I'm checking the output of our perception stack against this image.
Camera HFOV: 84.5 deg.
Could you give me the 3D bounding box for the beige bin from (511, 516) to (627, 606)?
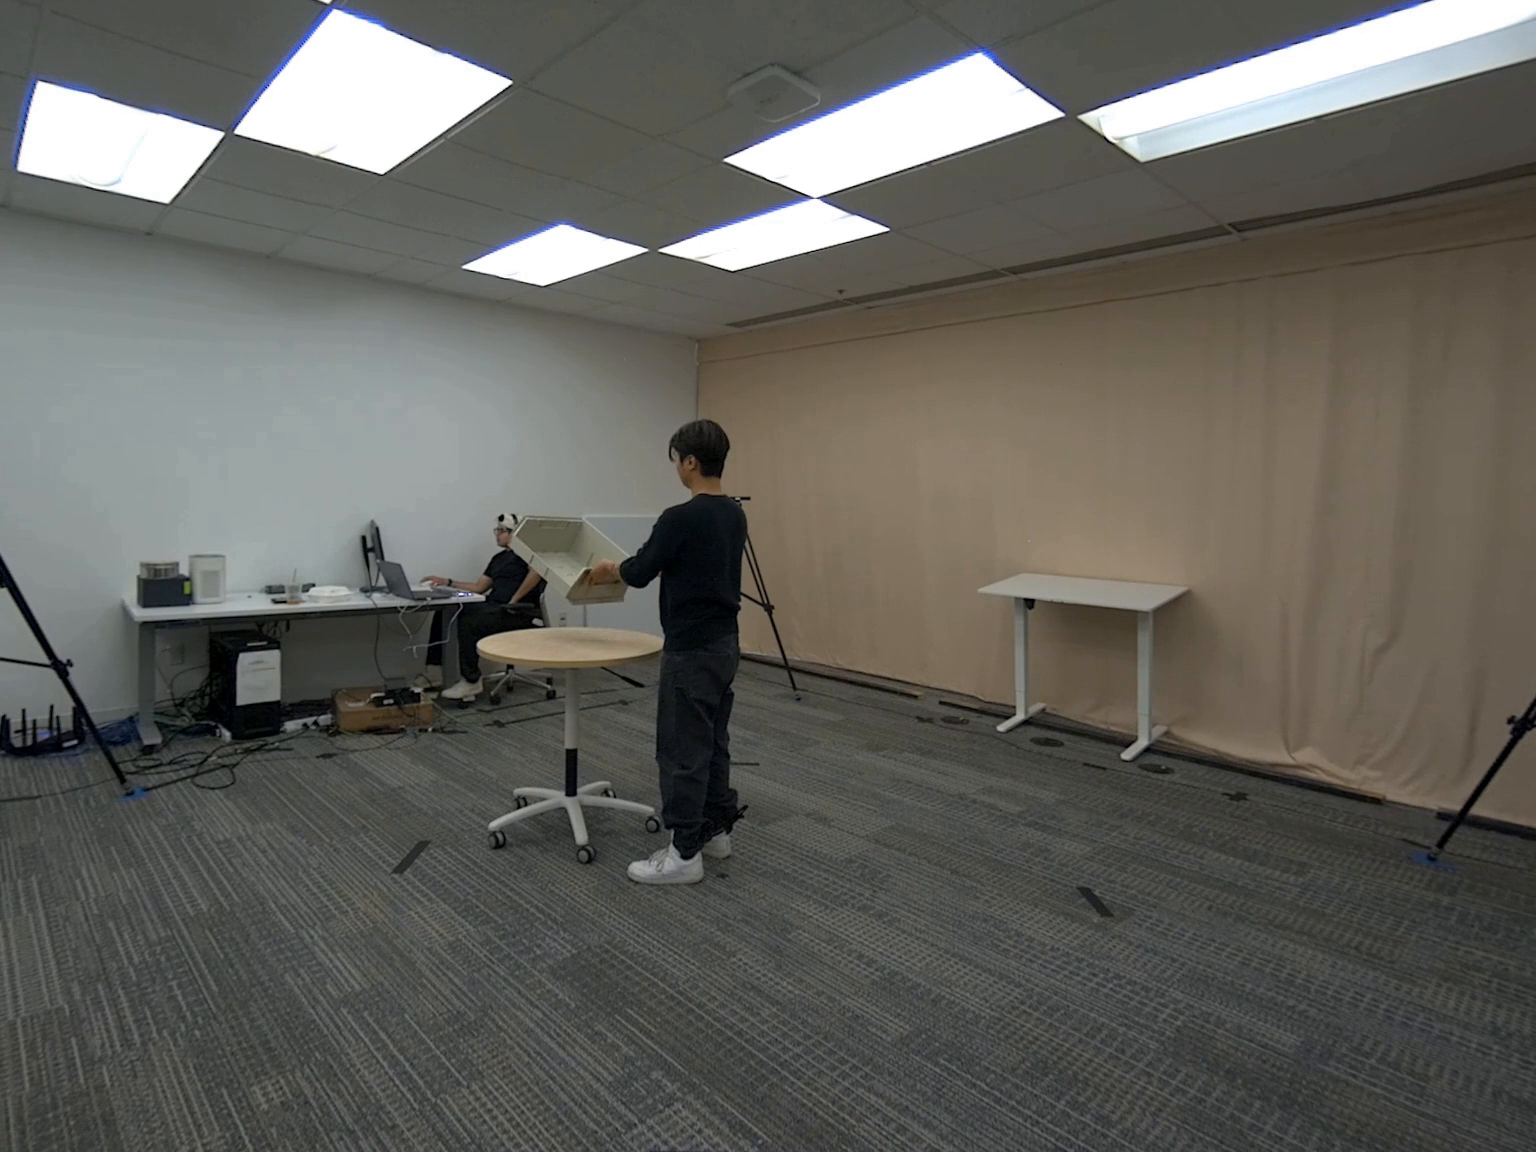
[{"bbox_3d":[-0.831,-0.061,3.564,0.434,0.188,0.369,36,18,28],"label":"beige bin"}]
